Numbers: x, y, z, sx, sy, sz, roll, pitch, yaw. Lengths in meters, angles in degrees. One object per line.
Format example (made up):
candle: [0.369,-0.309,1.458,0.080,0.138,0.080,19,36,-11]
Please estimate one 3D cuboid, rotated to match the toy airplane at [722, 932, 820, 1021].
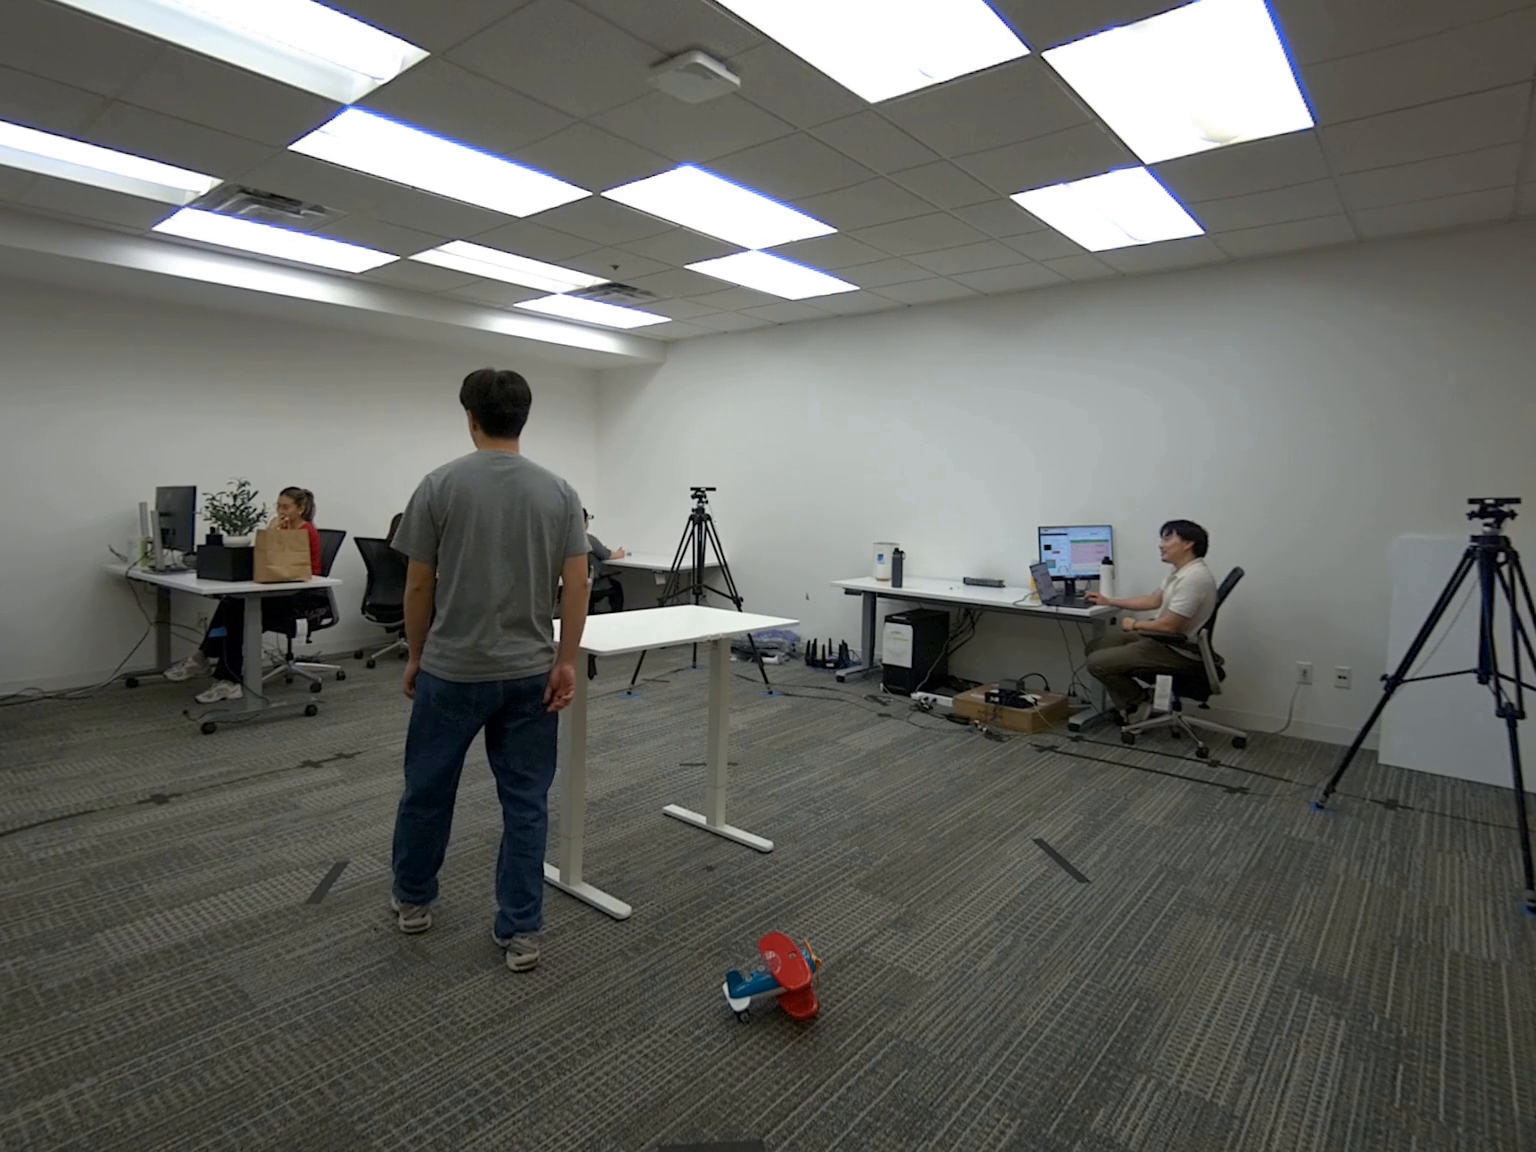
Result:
toy airplane: [0.019,1.086,2.239,0.260,0.156,0.251,6,6,43]
